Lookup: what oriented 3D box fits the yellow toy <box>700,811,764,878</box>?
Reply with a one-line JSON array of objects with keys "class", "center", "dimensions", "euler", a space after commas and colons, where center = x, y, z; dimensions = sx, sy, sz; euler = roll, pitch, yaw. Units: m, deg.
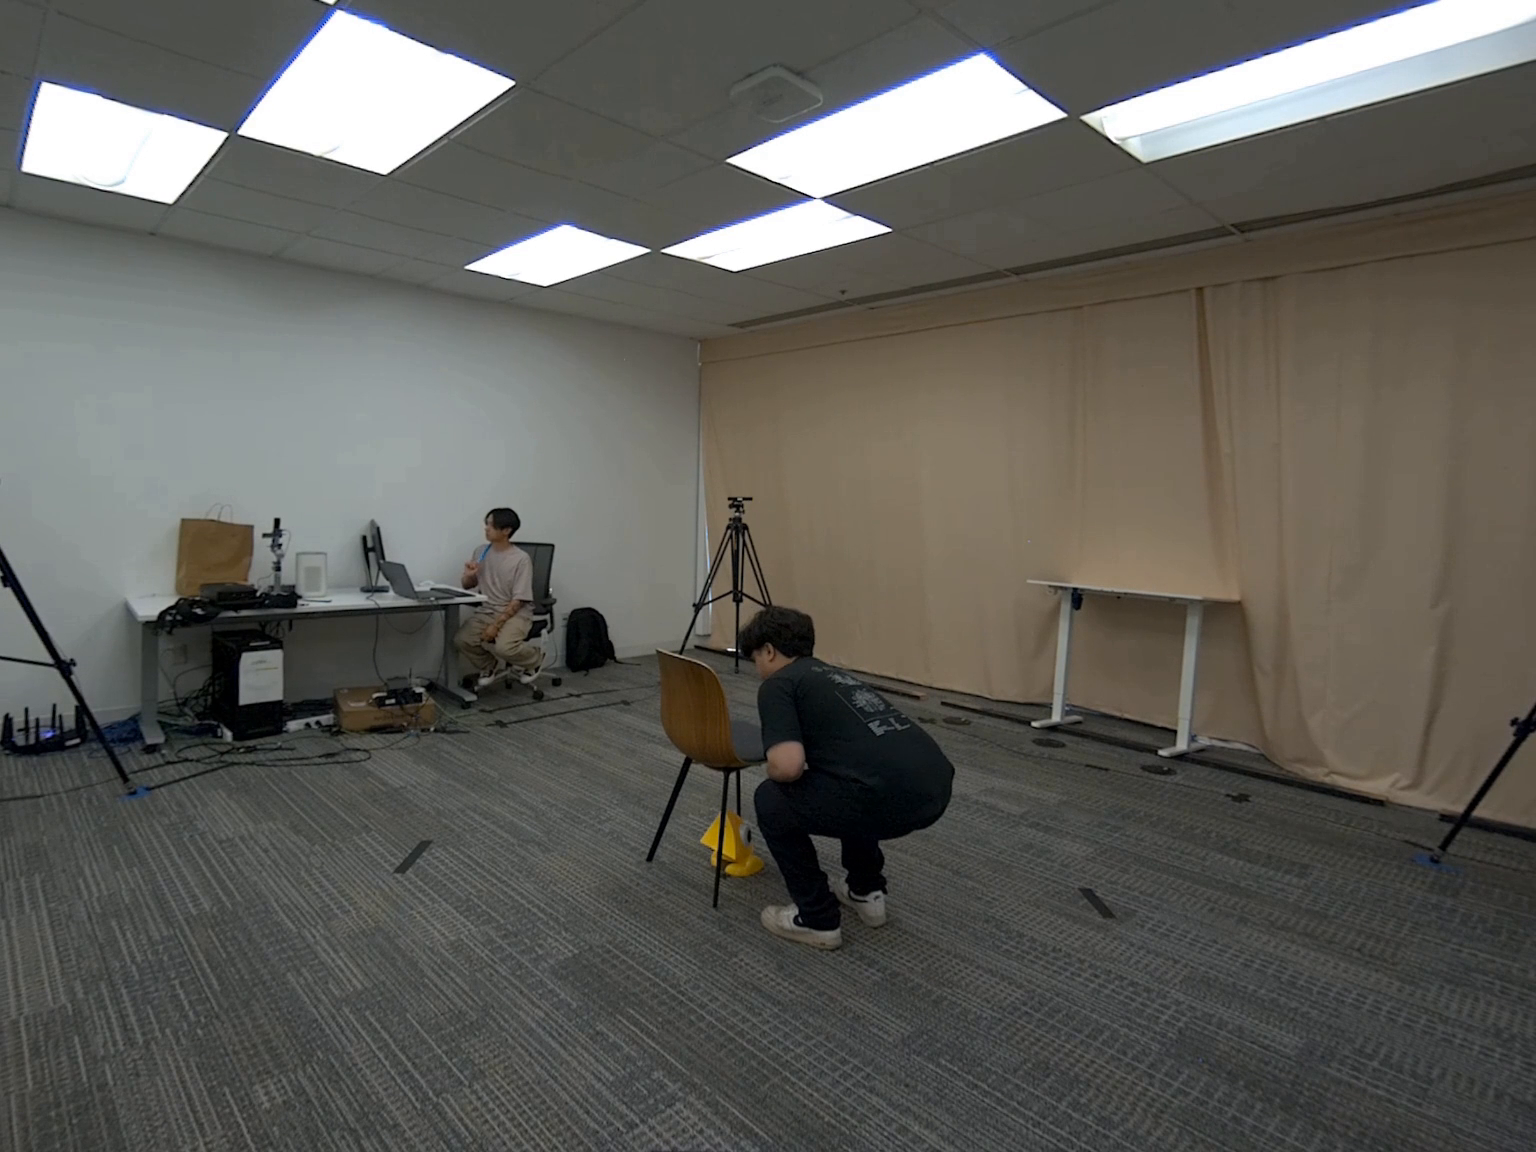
[{"class": "yellow toy", "center": [-0.129, 0.989, 3.198], "dimensions": [0.188, 0.230, 0.210], "euler": [-1, 6, -42]}]
